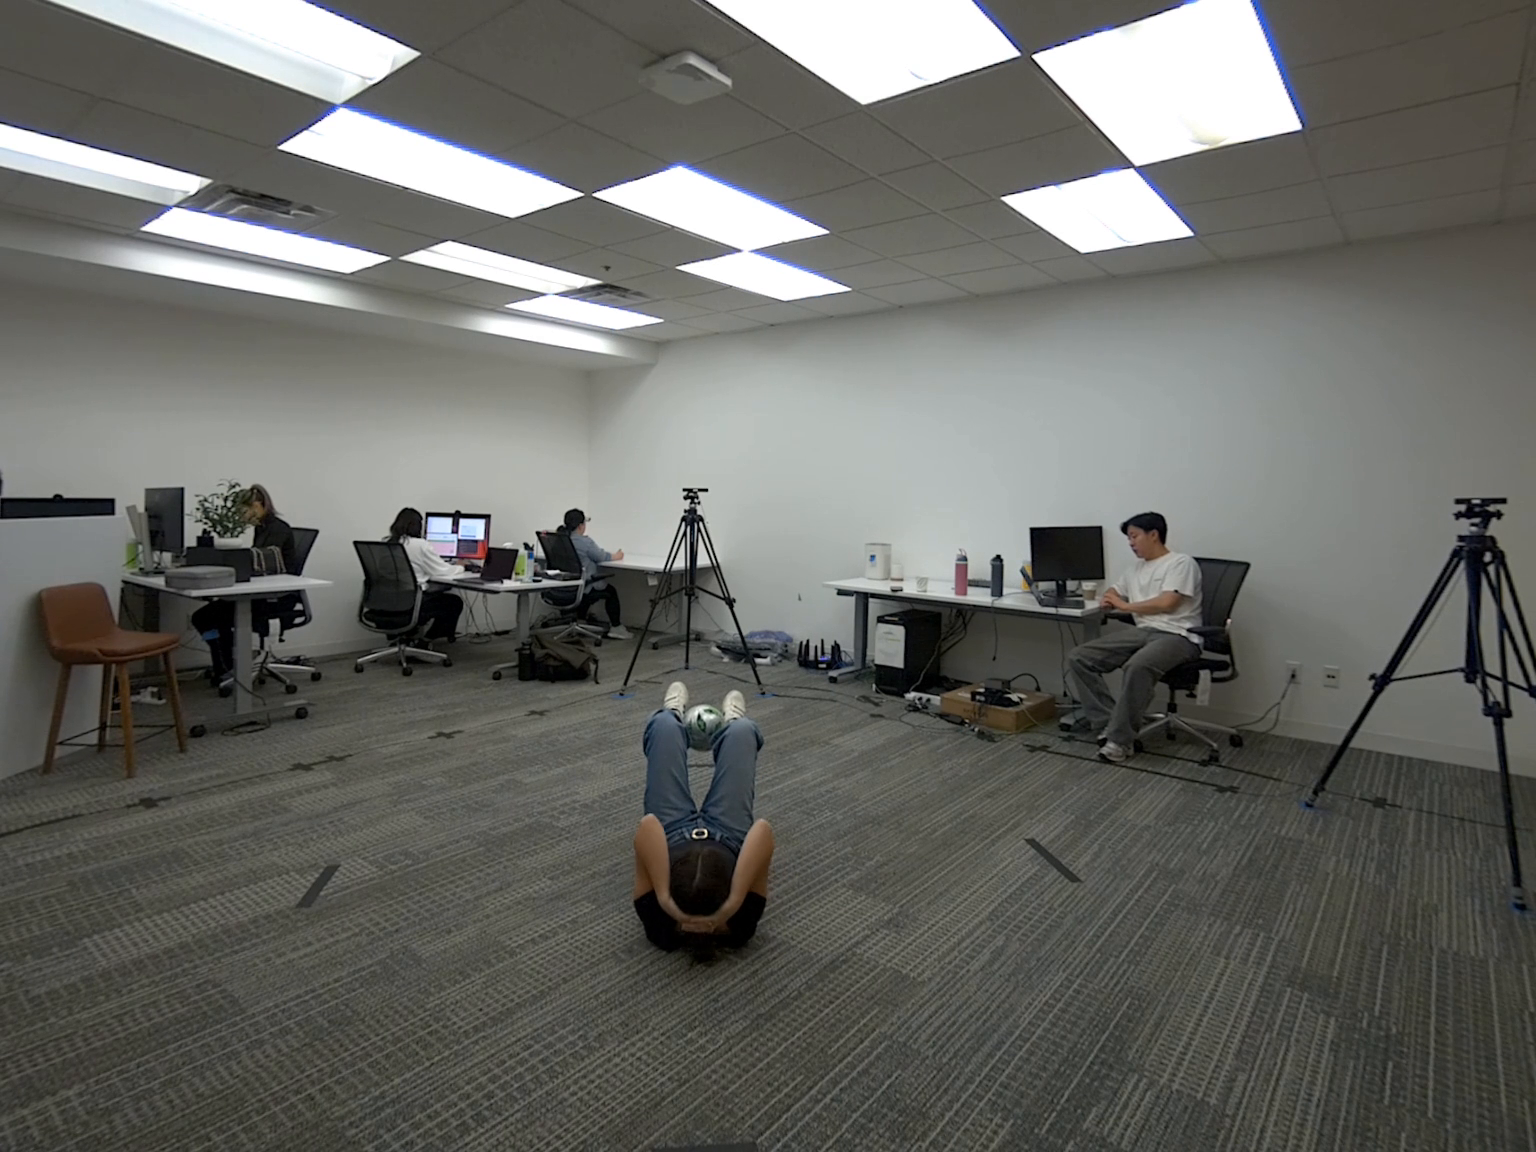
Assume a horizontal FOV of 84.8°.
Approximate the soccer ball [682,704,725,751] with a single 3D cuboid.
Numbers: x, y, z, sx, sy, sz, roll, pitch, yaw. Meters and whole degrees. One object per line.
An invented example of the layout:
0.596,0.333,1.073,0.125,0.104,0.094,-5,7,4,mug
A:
-0.270,0.612,3.460,0.187,0.187,0.188,-3,4,-2,soccer ball
